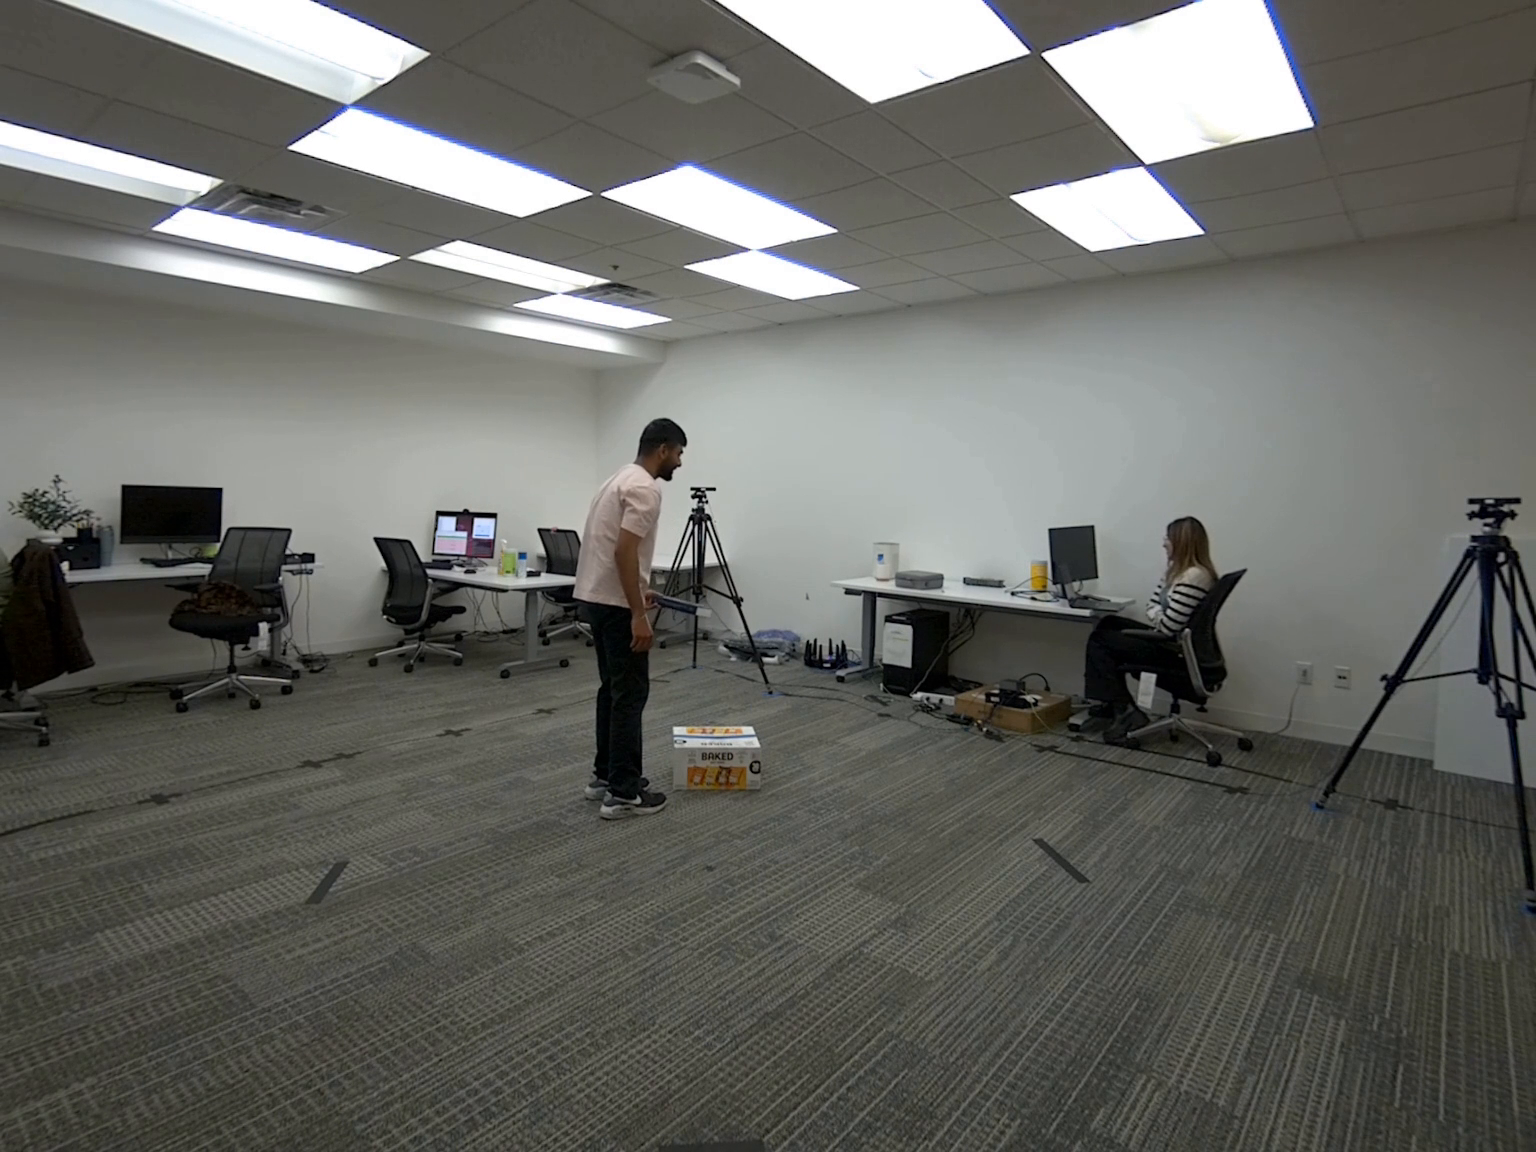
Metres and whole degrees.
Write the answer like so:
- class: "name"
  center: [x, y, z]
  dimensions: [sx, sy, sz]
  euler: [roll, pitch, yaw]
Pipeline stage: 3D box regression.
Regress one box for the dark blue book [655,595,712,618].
- class: "dark blue book"
  center: [-0.419, 0.143, 3.966]
  dimensions: [0.252, 0.045, 0.159]
  euler: [12, 1, 24]
